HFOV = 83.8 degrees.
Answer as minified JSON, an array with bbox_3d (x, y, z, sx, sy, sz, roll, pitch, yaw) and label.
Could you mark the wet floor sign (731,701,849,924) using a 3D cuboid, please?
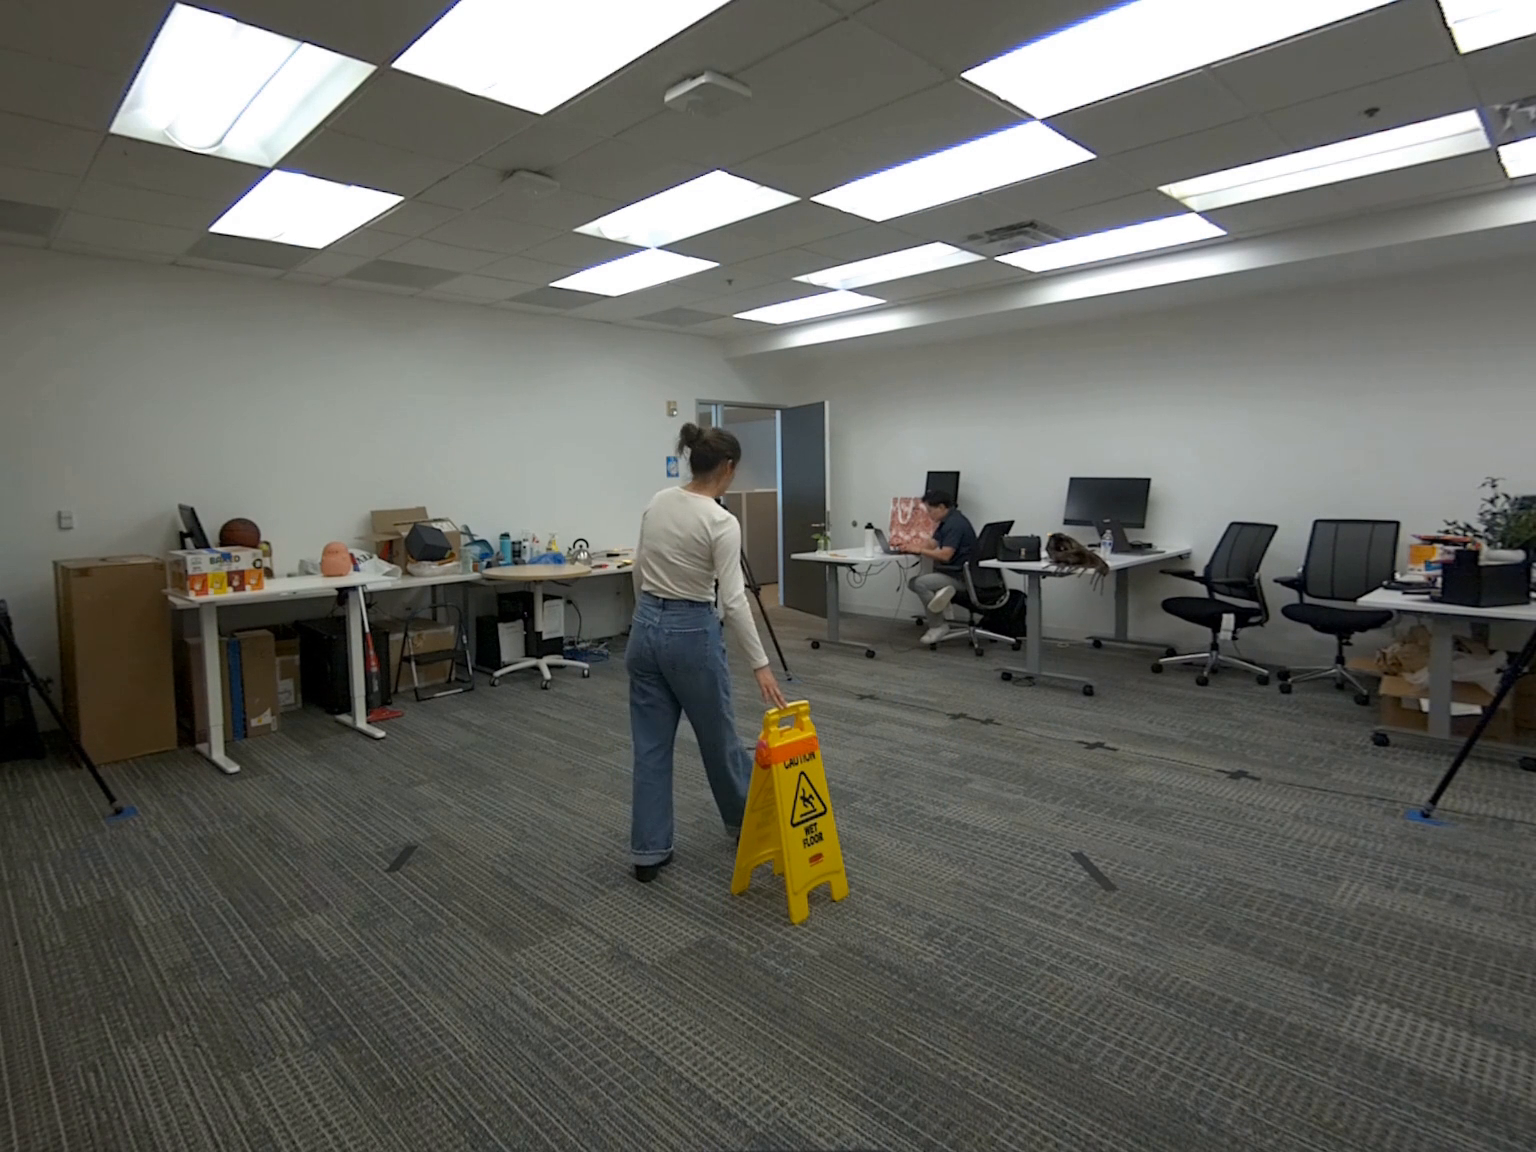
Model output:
[{"bbox_3d":[0.074,0.747,2.846,0.275,0.643,0.299,-5,6,-45],"label":"wet floor sign"}]
